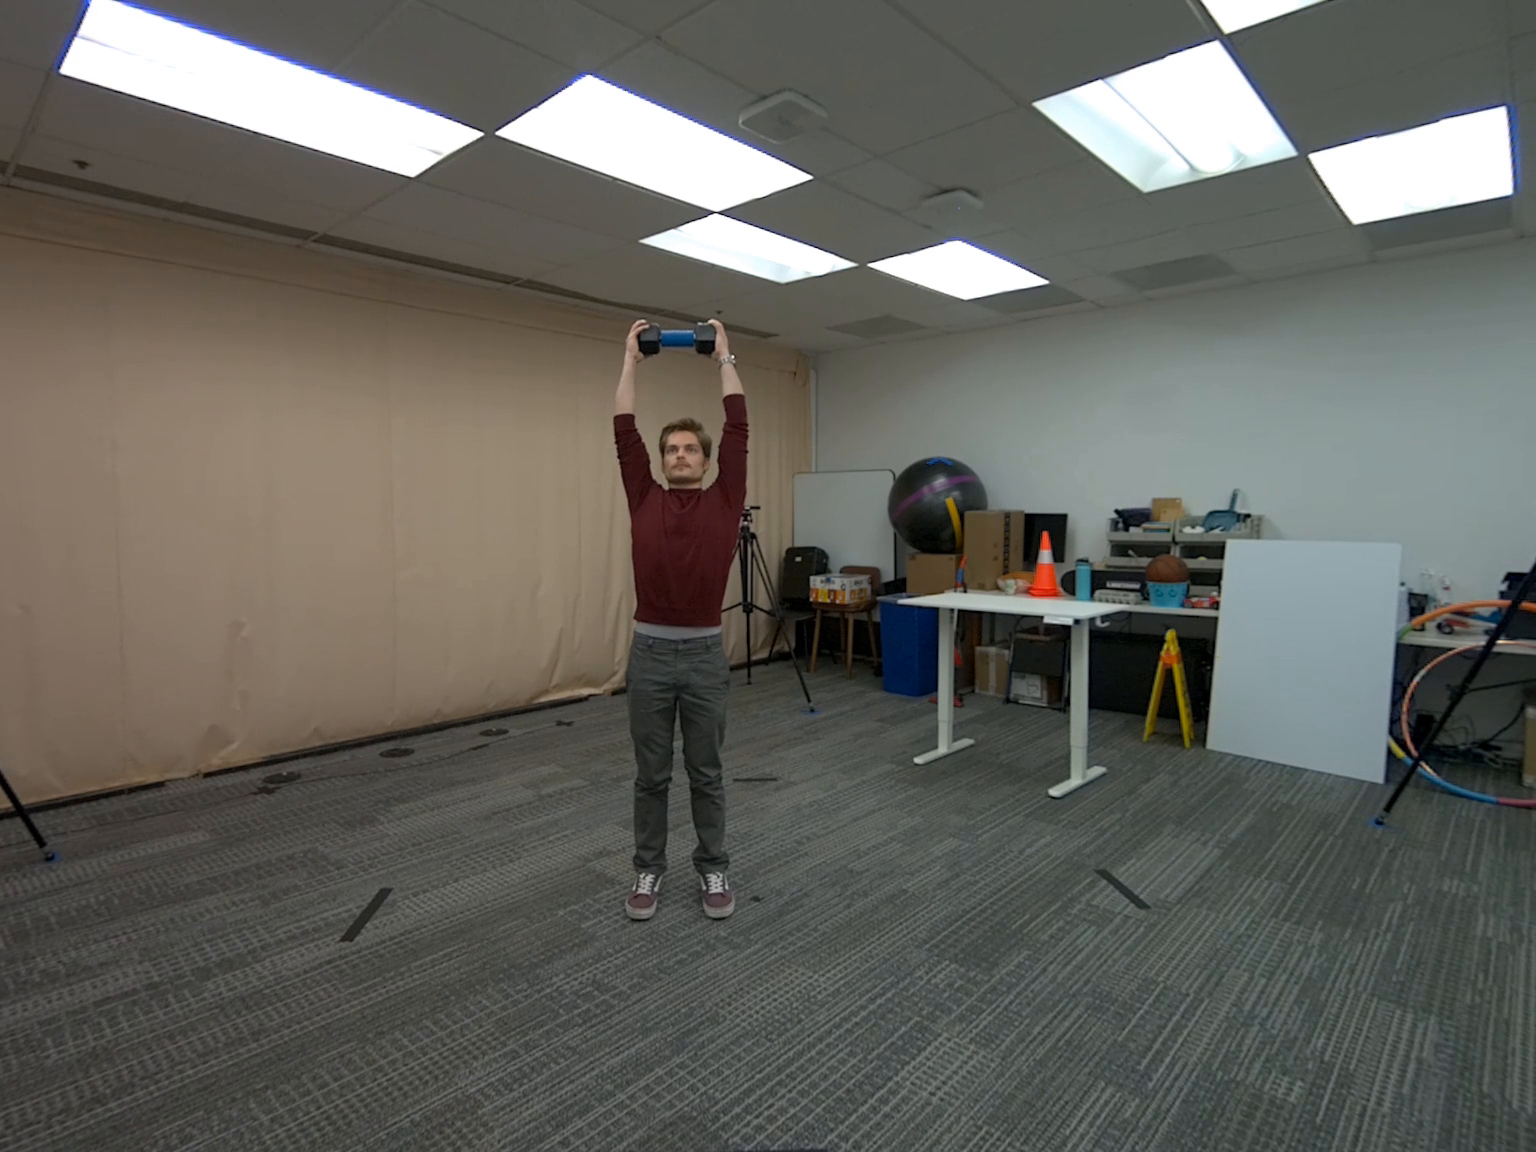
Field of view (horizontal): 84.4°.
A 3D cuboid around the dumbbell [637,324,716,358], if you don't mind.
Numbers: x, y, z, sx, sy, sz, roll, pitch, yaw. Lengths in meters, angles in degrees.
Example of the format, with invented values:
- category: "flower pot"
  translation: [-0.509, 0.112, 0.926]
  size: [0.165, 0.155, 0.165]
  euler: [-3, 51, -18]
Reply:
- category: "dumbbell"
  translation: [-0.330, -0.870, 3.105]
  size: [0.292, 0.107, 0.124]
  euler: [-1, 16, -3]
